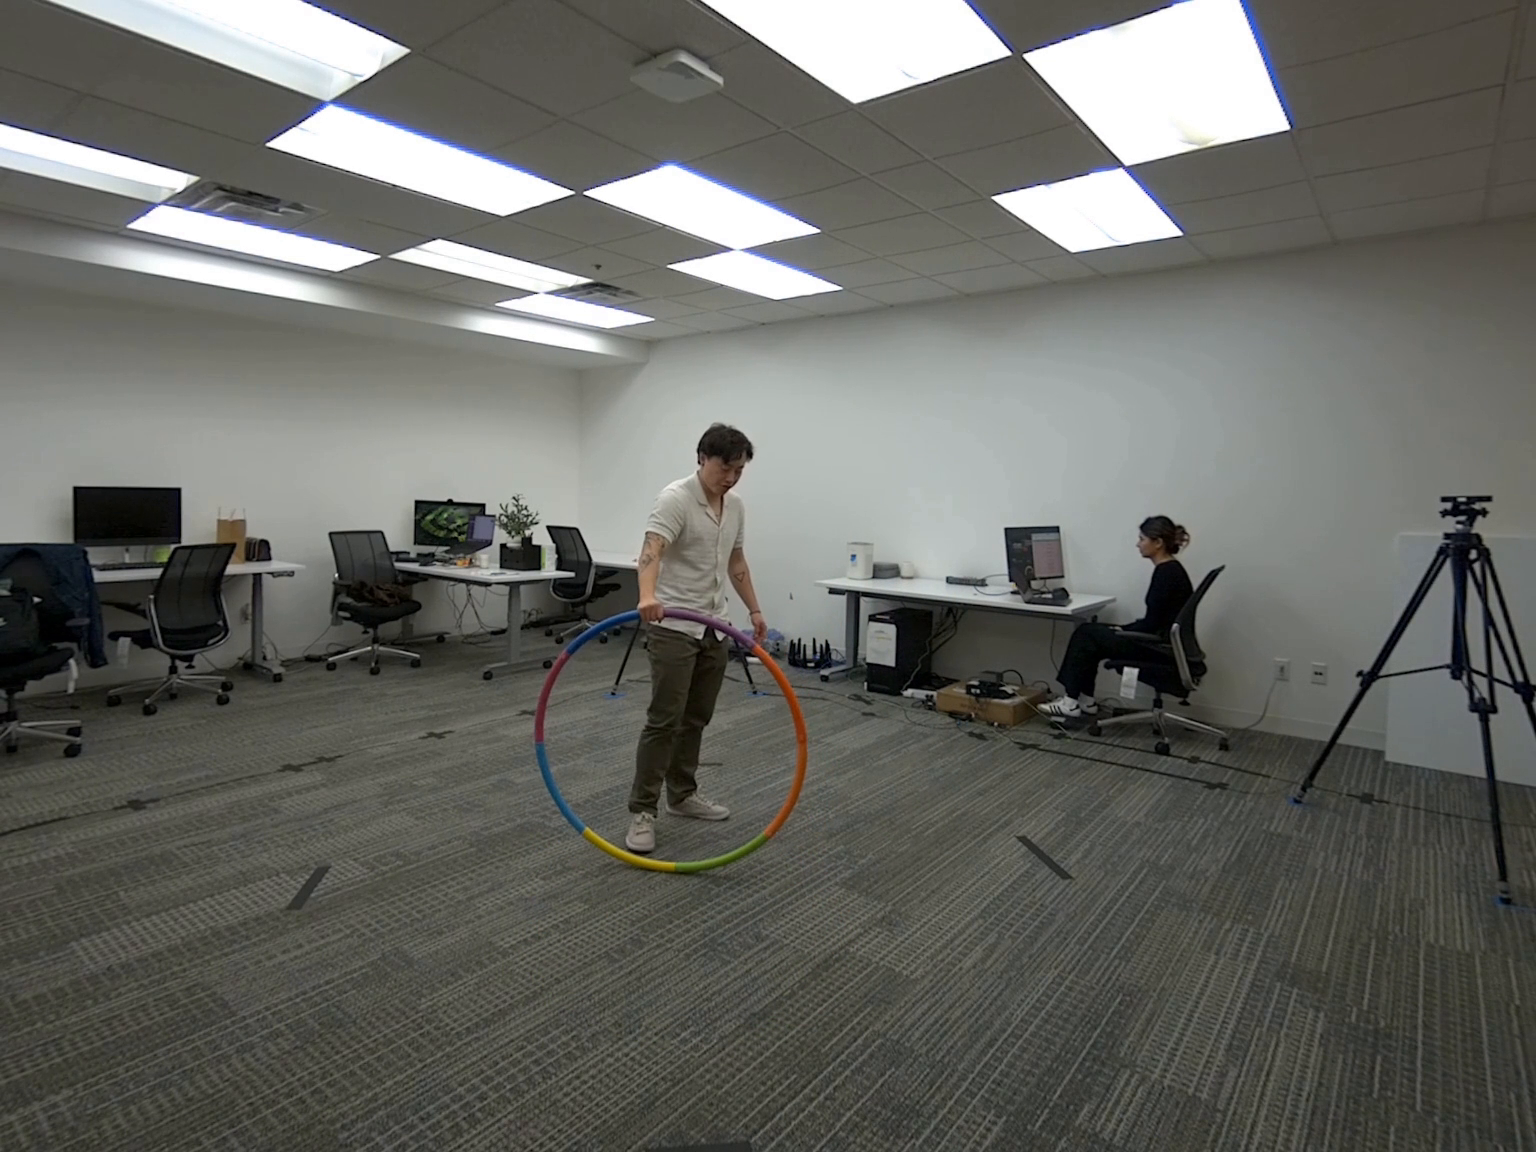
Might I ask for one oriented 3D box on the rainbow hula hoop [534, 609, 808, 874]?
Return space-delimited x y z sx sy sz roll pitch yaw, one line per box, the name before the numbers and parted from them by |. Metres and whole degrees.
rainbow hula hoop | -0.369 0.583 3.032 0.991 0.972 0.035 2 7 11
